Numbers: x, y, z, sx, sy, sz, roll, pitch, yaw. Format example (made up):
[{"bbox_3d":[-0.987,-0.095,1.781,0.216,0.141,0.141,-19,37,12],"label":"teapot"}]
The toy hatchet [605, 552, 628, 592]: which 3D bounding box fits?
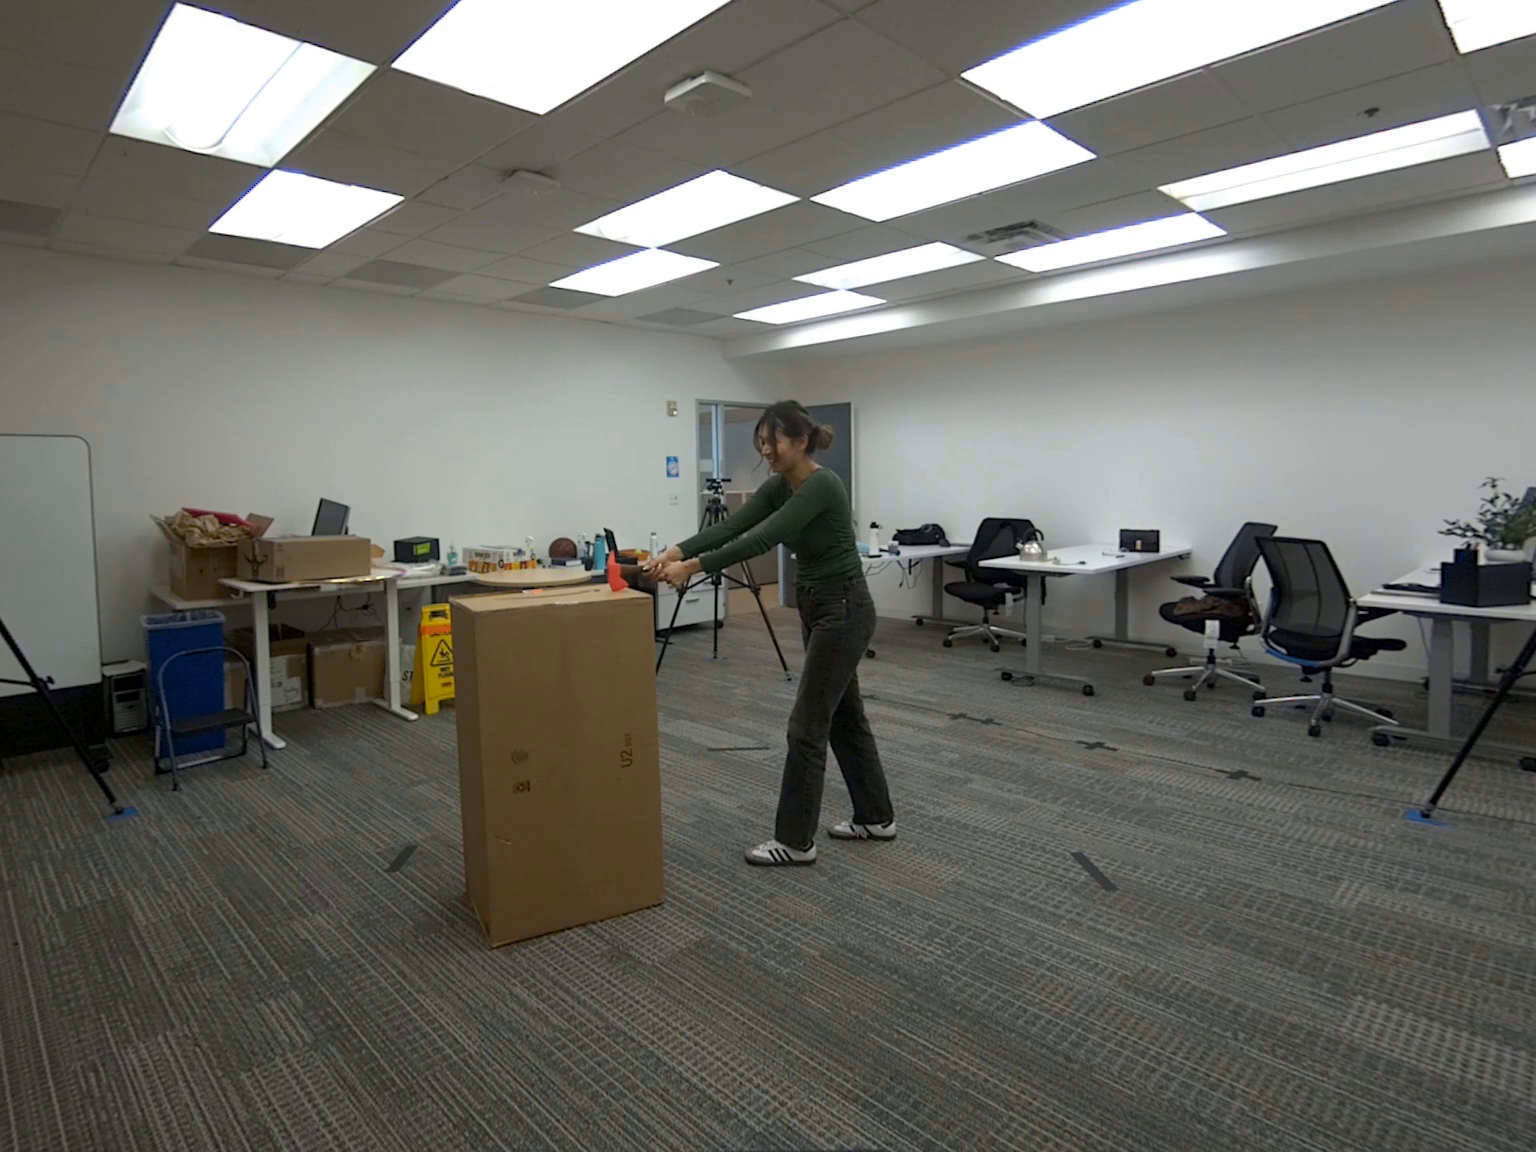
[{"bbox_3d":[-0.423,0.008,2.897,0.265,0.132,0.030,18,-10,-14],"label":"toy hatchet"}]
